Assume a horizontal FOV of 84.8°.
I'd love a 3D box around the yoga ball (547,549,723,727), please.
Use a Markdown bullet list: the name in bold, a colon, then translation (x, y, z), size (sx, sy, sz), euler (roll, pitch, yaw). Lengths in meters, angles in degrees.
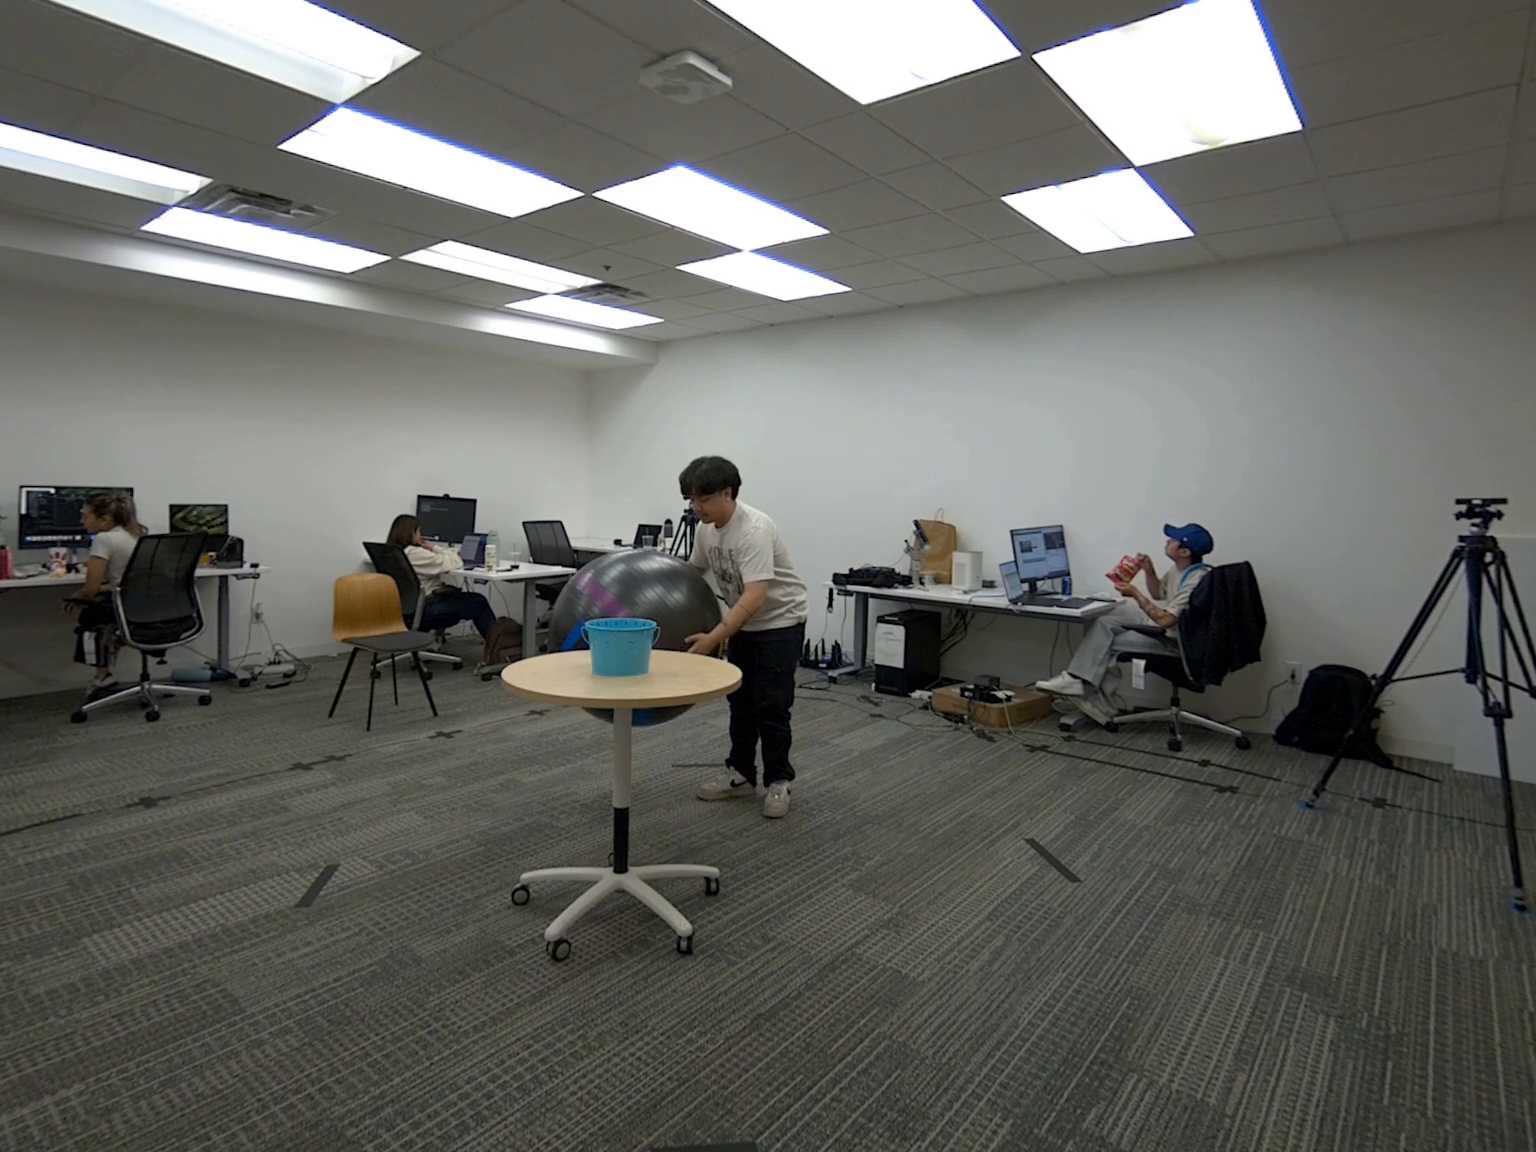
- **yoga ball**: translation (-0.579, 0.265, 3.685), size (0.757, 0.755, 0.762), euler (1, 4, -2)
